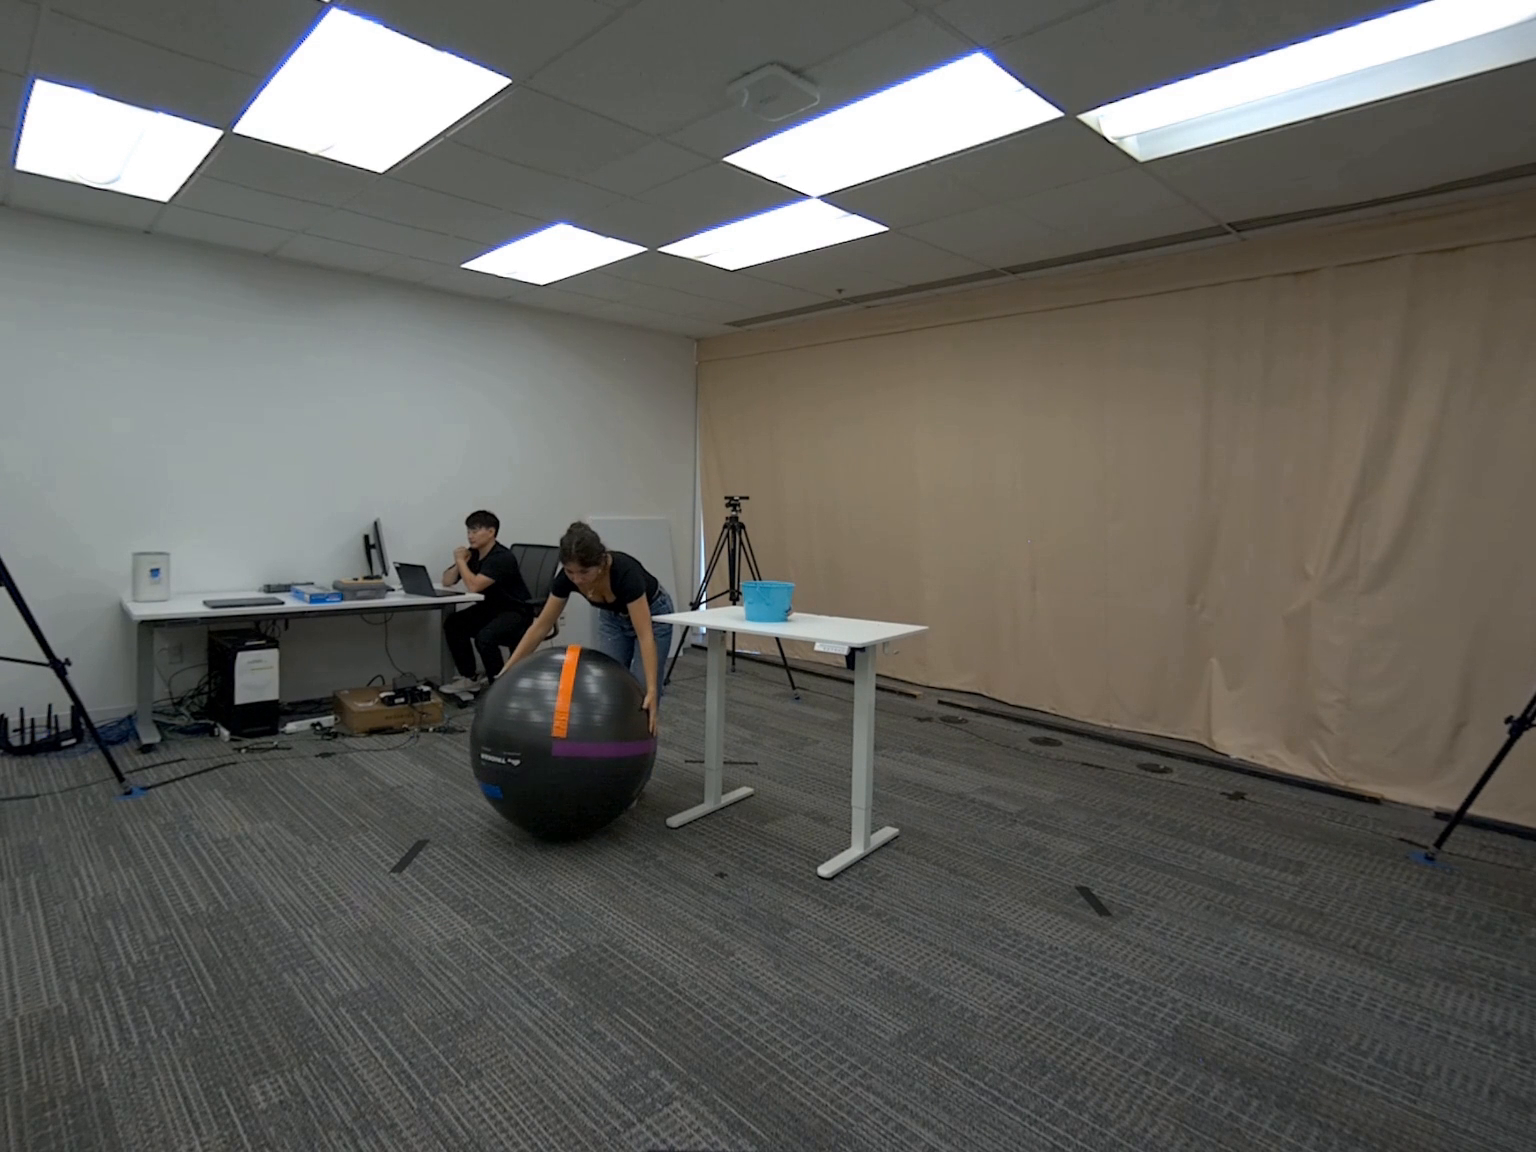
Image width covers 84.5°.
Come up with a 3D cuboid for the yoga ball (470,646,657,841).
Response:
[{"bbox_3d":[-0.855,0.680,3.464,0.757,0.756,0.761,1,4,-1],"label":"yoga ball"}]
